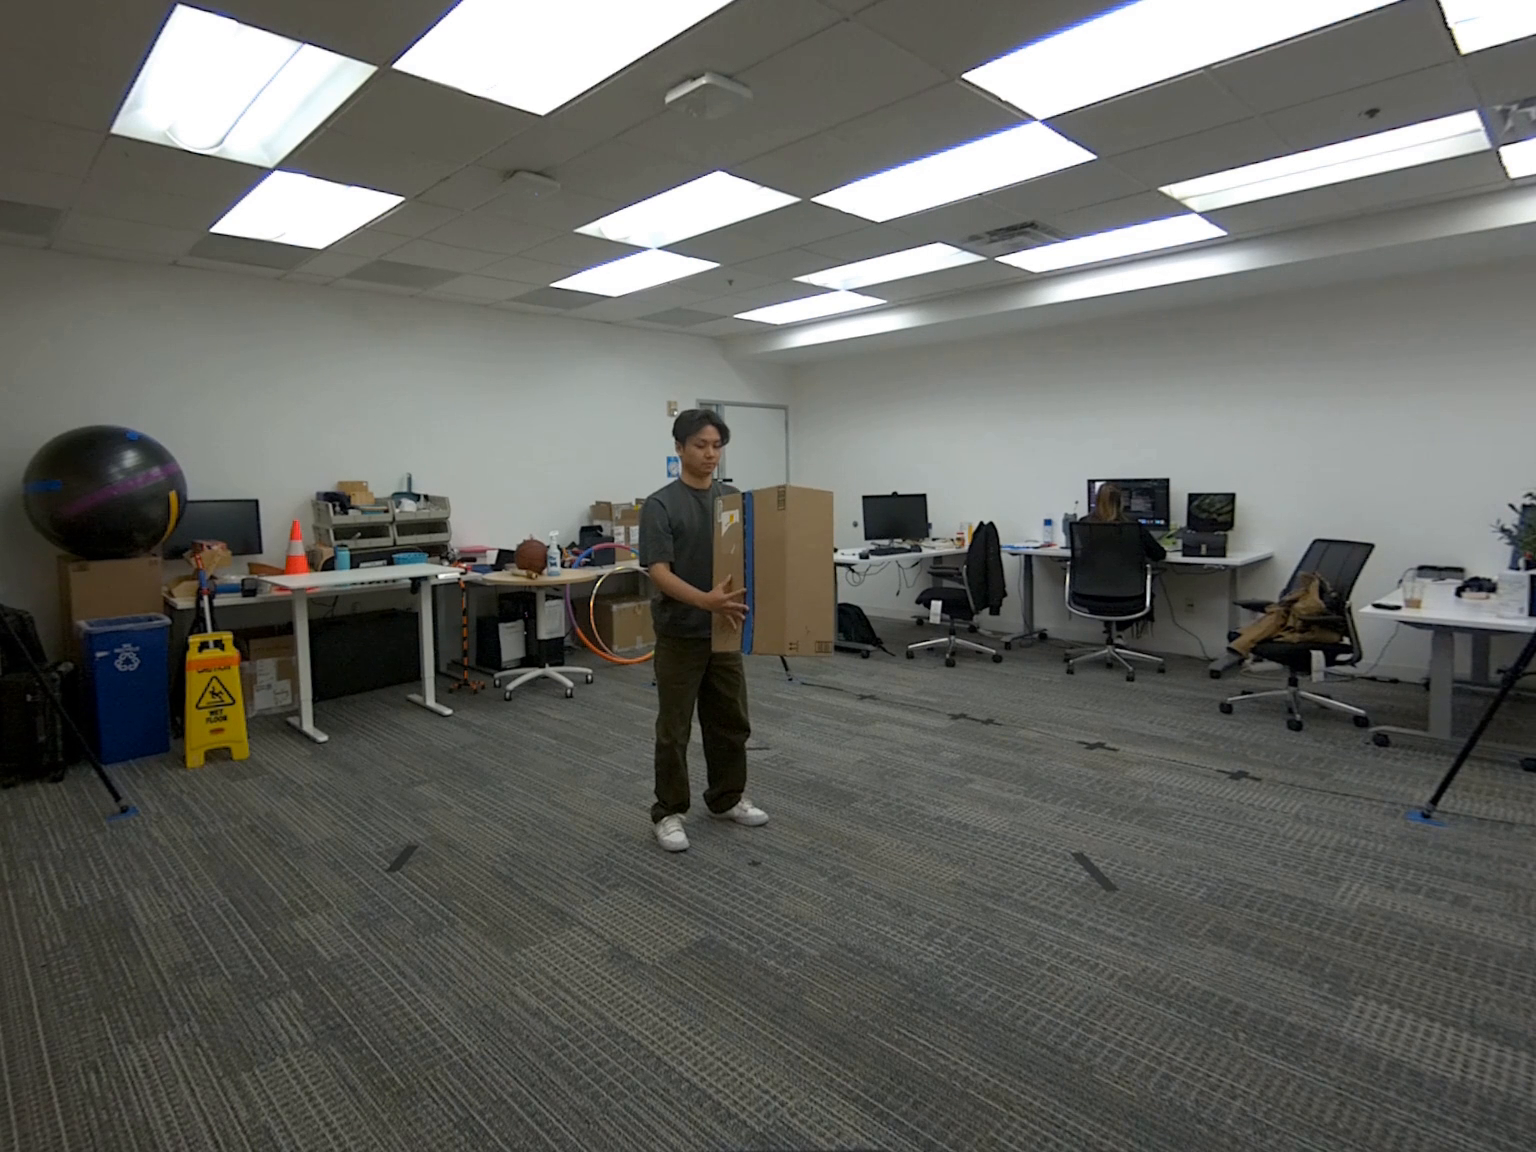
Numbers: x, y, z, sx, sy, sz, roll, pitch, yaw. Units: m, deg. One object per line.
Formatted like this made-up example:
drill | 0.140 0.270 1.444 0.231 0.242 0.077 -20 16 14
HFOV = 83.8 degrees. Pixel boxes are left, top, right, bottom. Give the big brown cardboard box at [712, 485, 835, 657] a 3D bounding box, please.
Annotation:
big brown cardboard box | 0.013 -0.008 3.008 0.226 0.592 0.428 5 -7 -37
